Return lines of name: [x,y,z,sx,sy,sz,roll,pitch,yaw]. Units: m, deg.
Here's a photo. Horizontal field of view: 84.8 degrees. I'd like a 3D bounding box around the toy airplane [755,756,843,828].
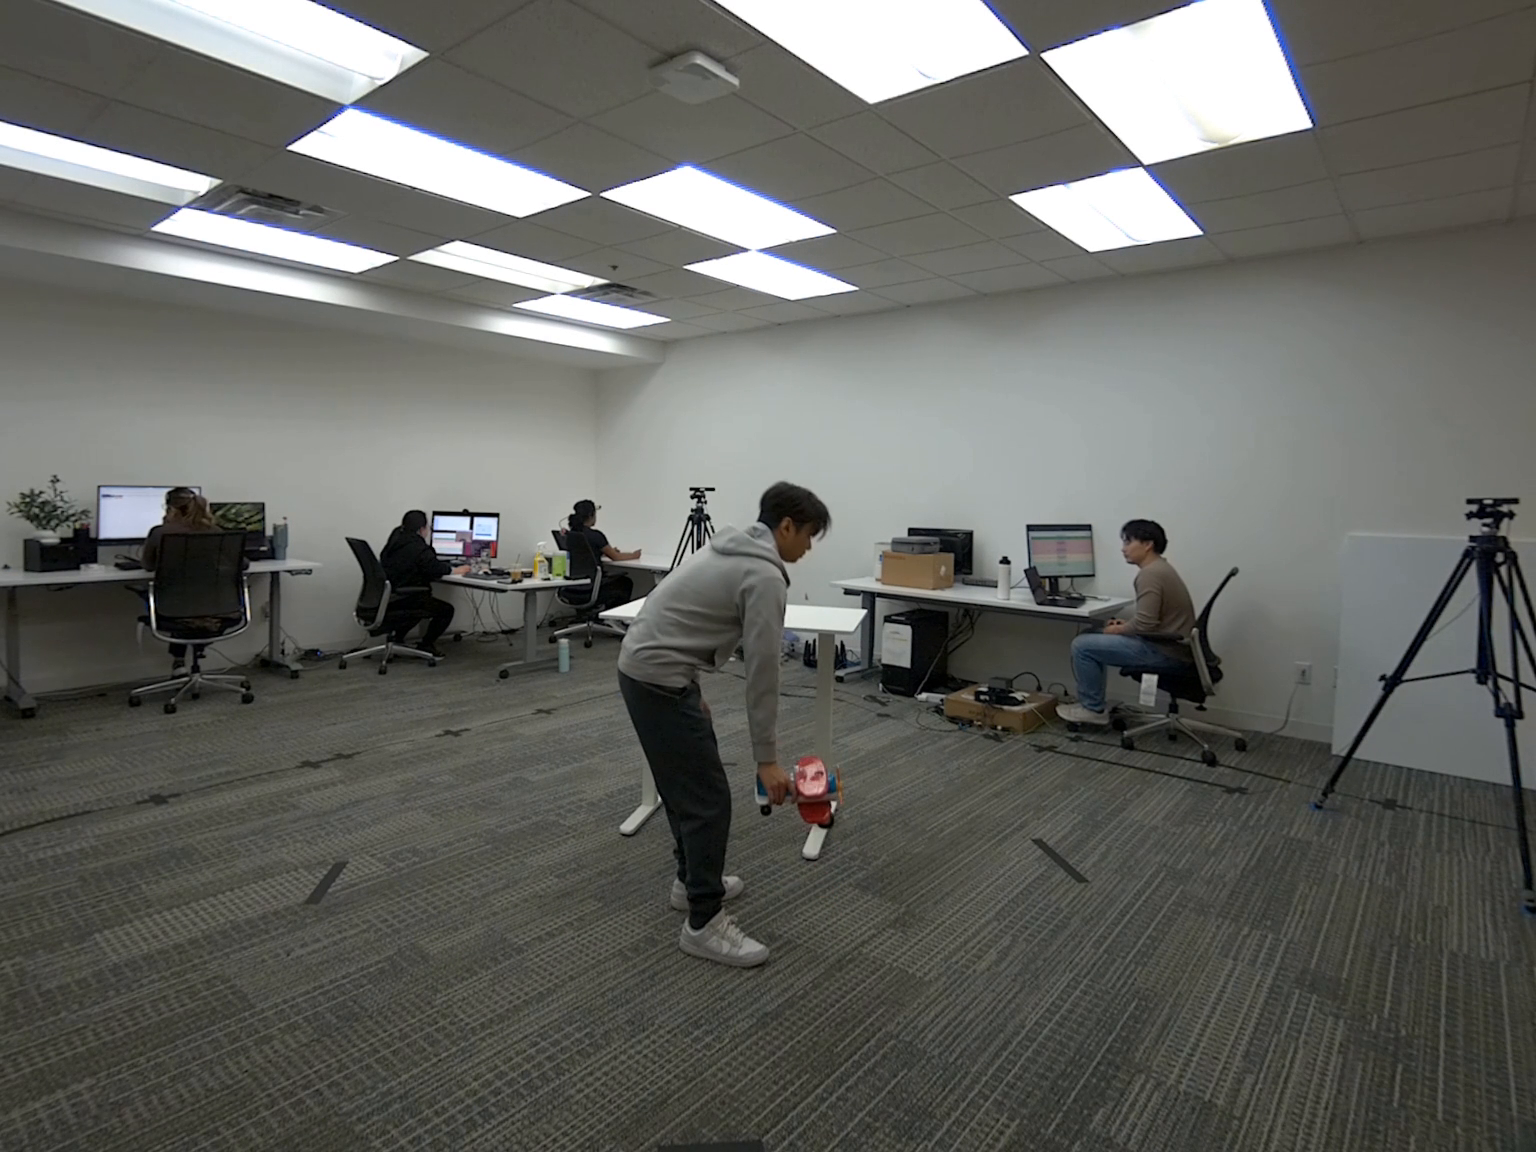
toy airplane: [0.084,0.671,2.539,0.252,0.155,0.260,-5,14,-31]
